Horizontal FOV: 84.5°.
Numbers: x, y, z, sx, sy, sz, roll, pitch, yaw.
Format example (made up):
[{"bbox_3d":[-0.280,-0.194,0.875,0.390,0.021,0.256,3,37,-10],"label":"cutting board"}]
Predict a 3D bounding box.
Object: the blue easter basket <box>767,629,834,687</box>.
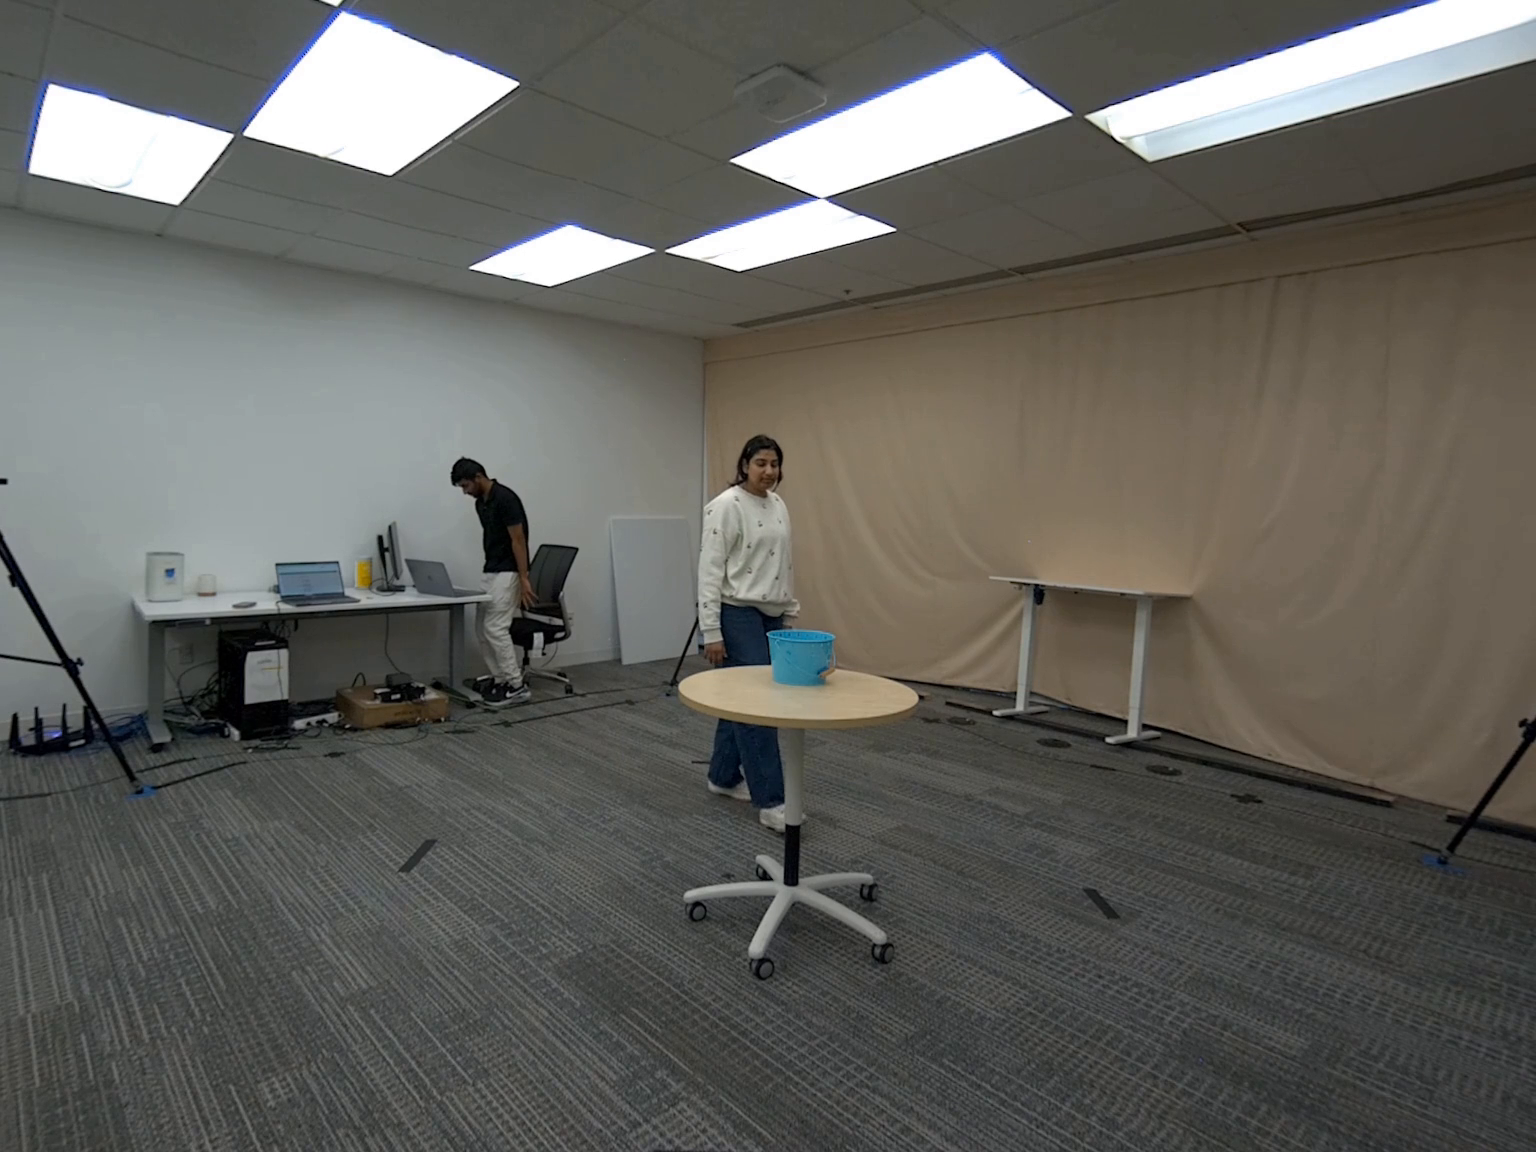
[{"bbox_3d":[0.104,0.282,2.841,0.243,0.155,0.244,1,4,-1],"label":"blue easter basket"}]
